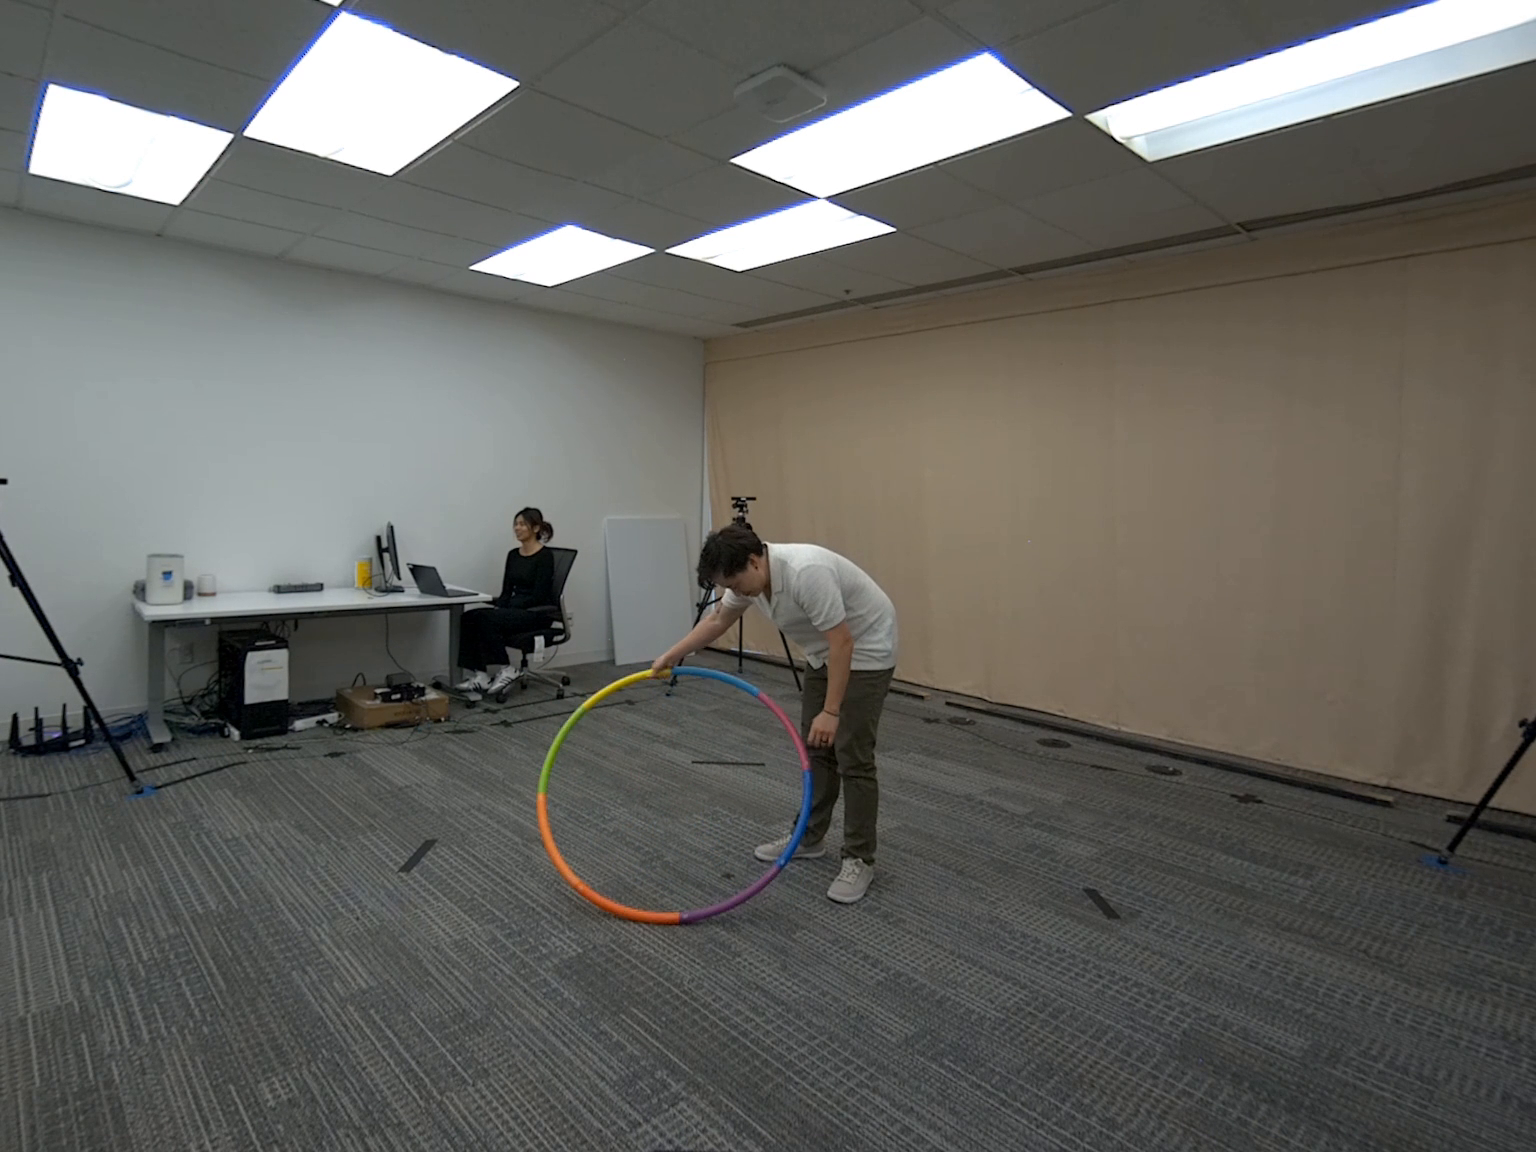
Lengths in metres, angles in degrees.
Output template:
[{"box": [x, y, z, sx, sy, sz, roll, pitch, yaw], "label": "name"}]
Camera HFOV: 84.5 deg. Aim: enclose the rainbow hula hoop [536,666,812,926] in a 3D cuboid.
[{"box": [-0.337, 0.754, 3.042, 0.980, 1.000, 0.035, -2, -41, 1], "label": "rainbow hula hoop"}]
